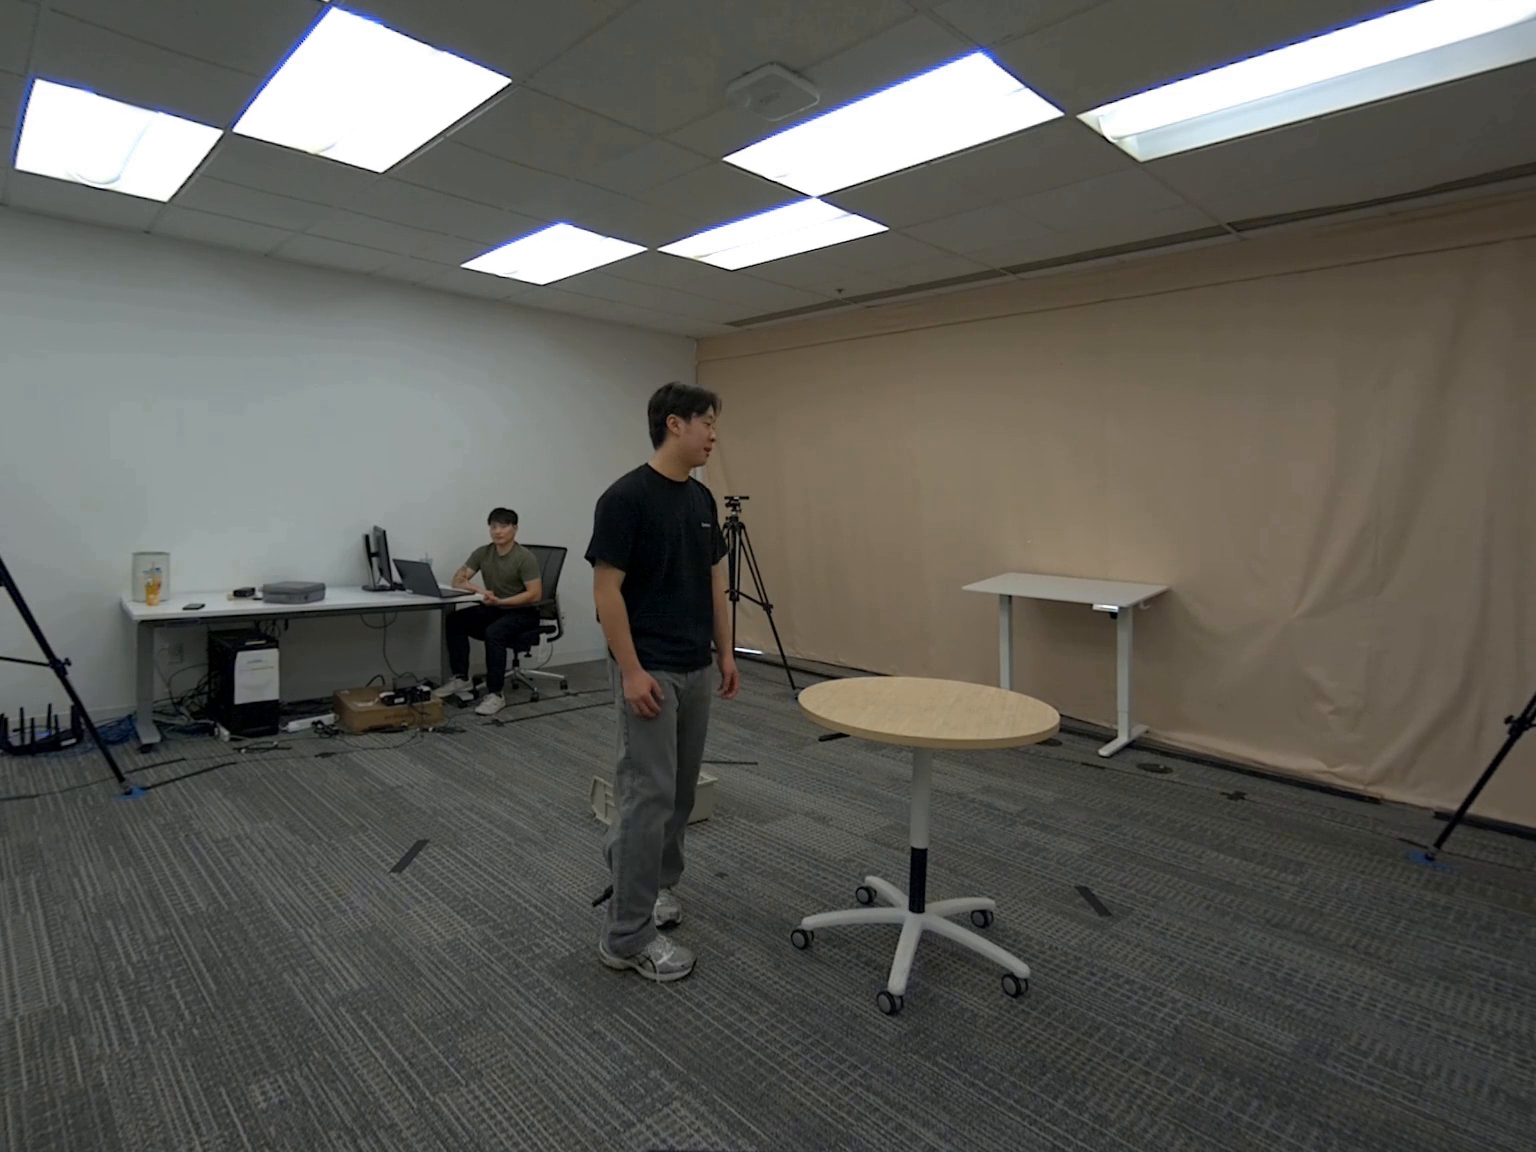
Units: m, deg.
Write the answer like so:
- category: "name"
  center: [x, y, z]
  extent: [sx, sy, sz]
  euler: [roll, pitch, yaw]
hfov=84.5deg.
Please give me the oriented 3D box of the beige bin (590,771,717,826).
- category: "beige bin"
  center: [-0.503, 0.962, 3.654]
  extent: [0.413, 0.188, 0.387]
  euler: [-2, 7, -41]
